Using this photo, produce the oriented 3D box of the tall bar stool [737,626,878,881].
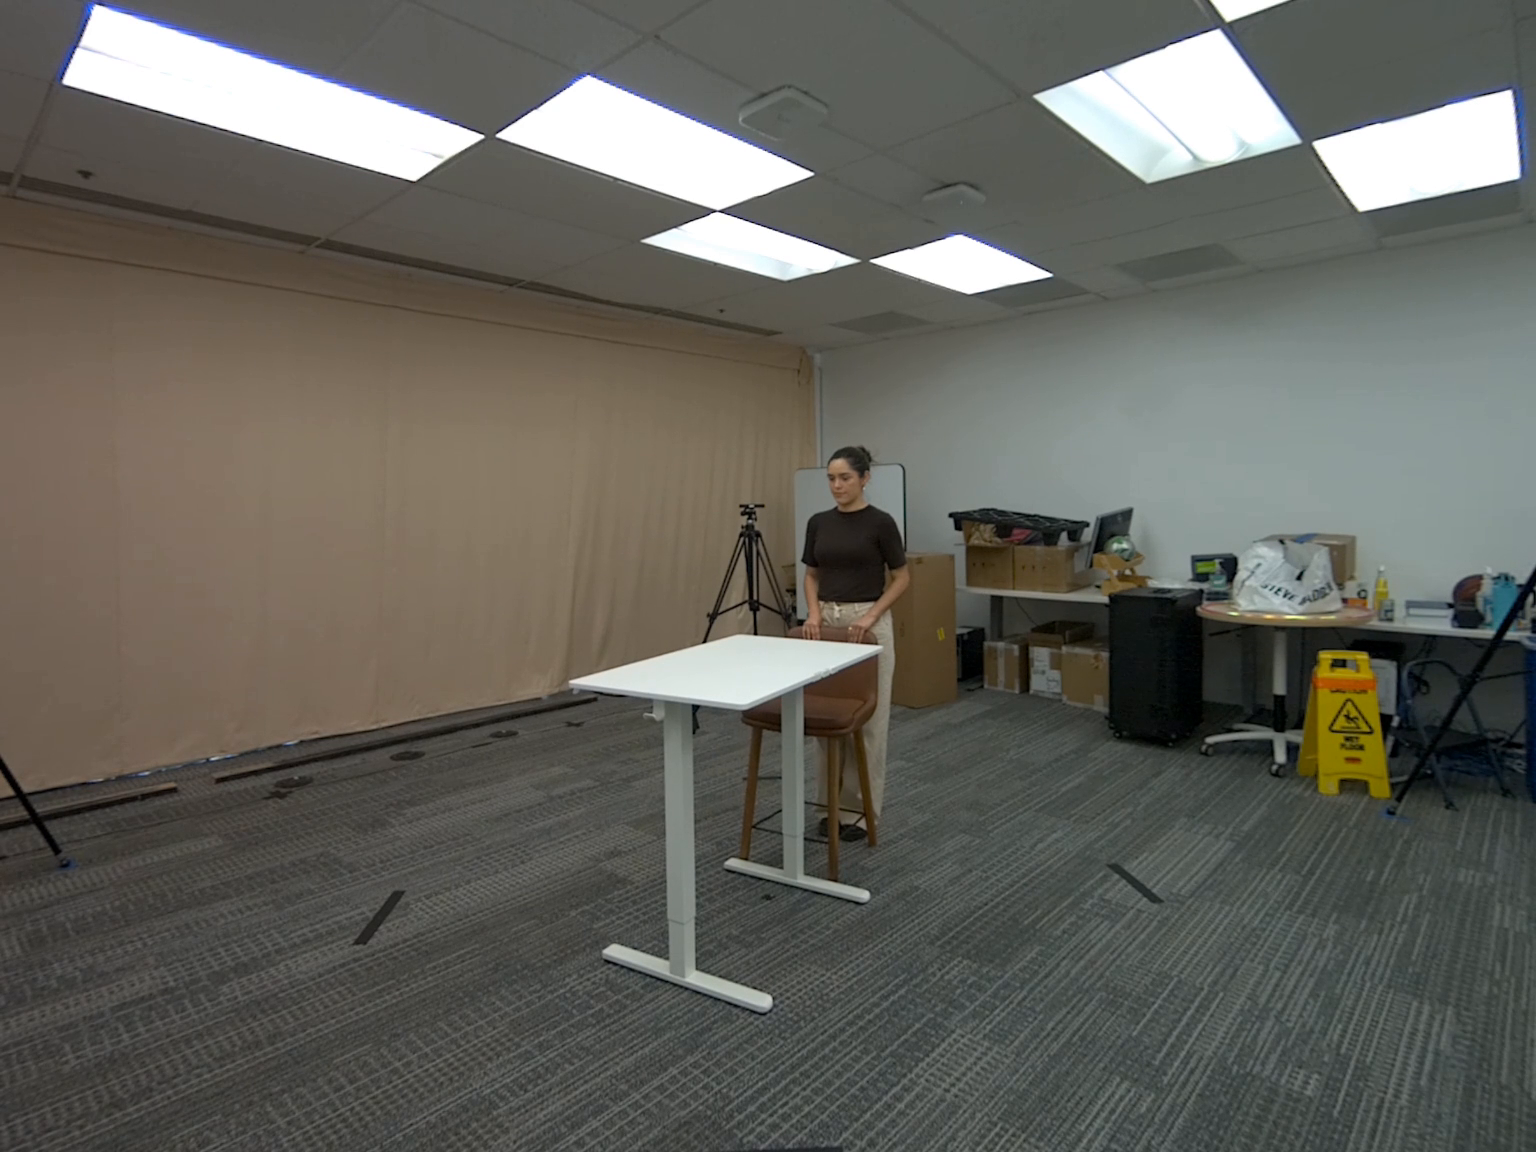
[{"bbox_3d":[0.174,0.662,3.325,0.470,0.889,0.454,1,1,31],"label":"tall bar stool"}]
